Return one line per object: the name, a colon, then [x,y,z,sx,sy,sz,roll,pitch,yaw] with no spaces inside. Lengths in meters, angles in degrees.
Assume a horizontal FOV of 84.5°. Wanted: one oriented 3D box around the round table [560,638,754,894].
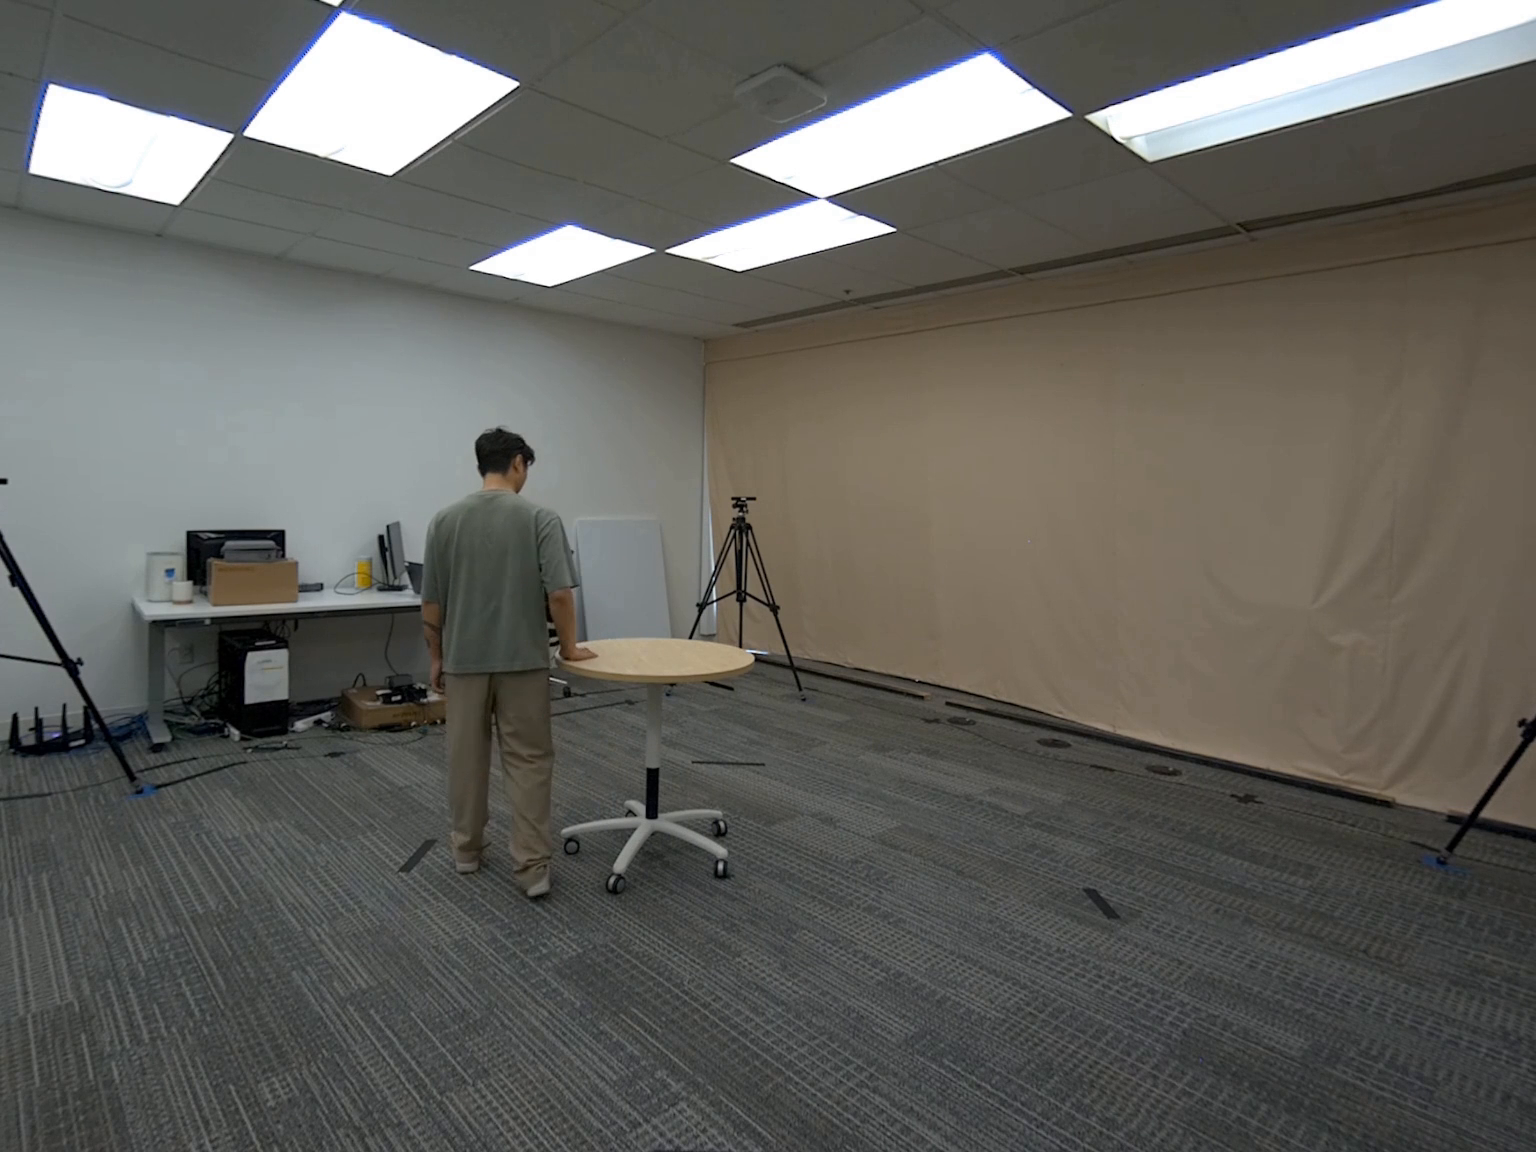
round table: [-0.456,0.697,3.275,0.763,0.792,0.766,2,4,-1]
